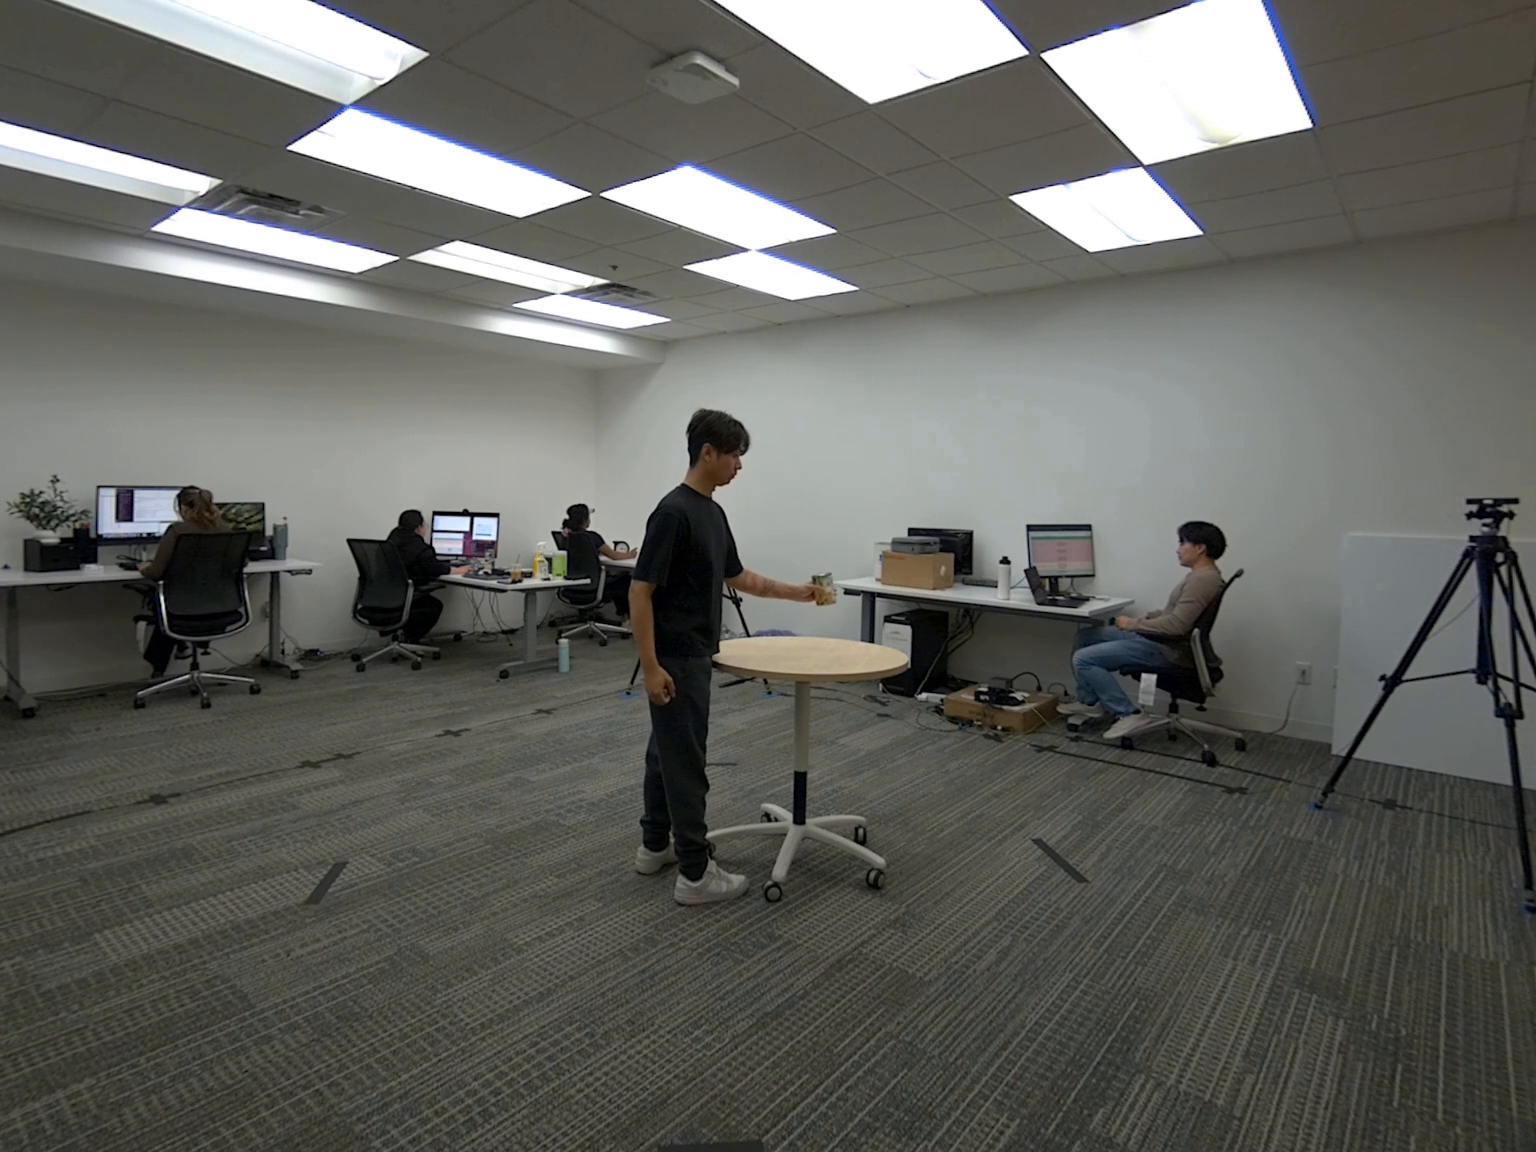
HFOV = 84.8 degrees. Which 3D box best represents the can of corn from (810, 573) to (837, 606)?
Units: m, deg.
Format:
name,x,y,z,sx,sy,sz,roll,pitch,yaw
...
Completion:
name,x,y,z,sx,sy,sz,roll,pitch,yaw
can of corn,0.194,0.049,3.154,0.074,0.111,0.074,-9,3,-1
